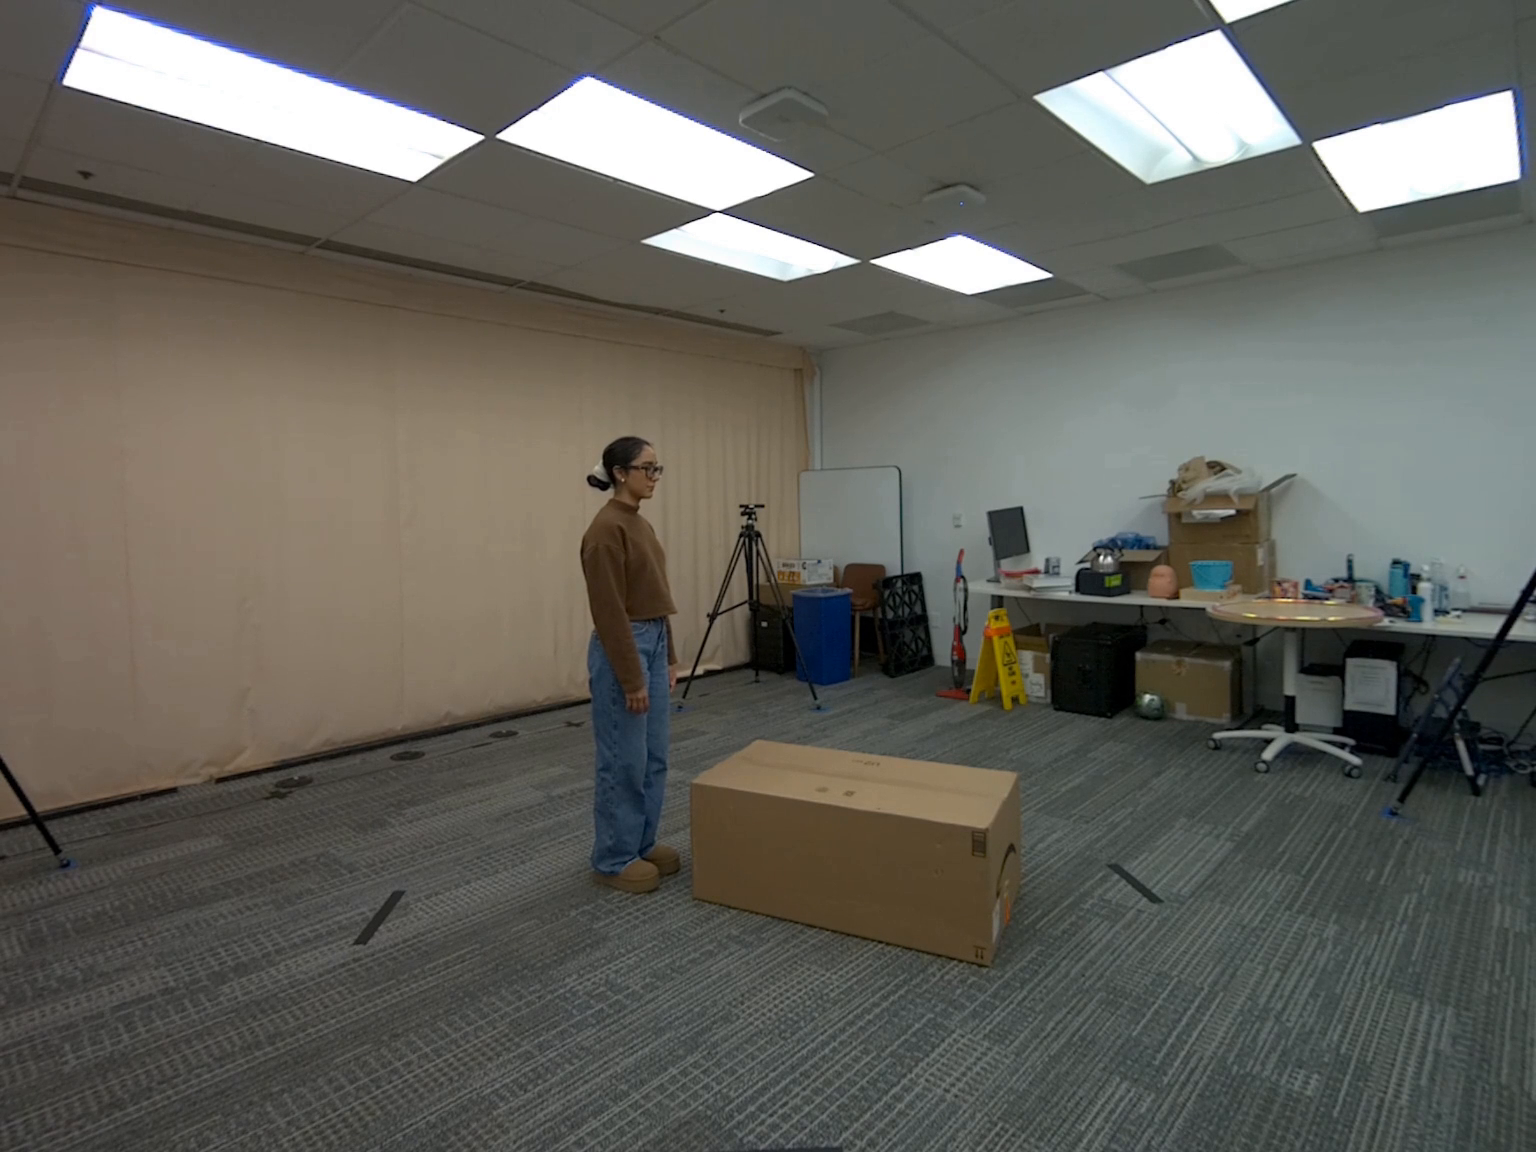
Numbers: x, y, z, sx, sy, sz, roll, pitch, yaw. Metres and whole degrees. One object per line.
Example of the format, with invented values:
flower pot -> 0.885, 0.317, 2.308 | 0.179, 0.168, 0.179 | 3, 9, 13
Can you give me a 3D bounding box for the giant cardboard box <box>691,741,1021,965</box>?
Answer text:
giant cardboard box -> 0.318, 0.921, 2.982 | 1.055, 0.446, 0.569 | 2, 4, 27
